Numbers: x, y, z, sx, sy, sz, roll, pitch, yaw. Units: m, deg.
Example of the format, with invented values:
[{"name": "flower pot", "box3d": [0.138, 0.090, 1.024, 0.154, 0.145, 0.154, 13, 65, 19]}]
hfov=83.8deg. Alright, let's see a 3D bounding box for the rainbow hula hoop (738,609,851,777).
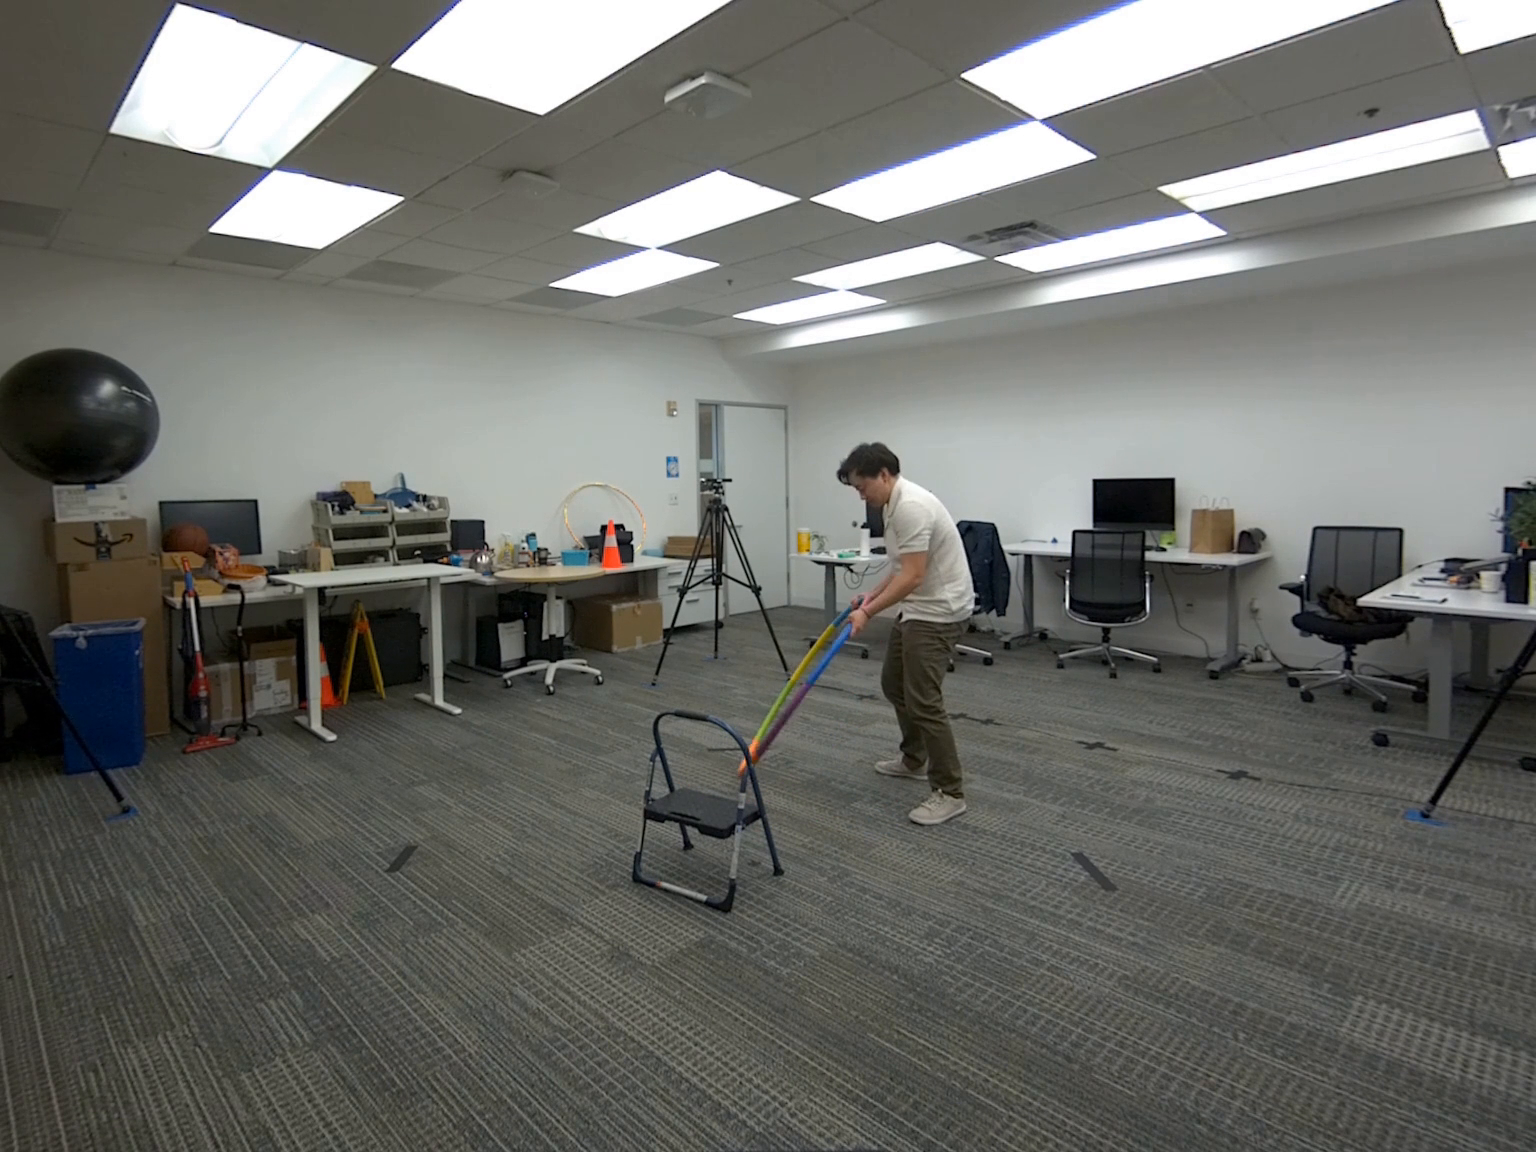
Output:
[{"name": "rainbow hula hoop", "box3d": [0.137, 0.470, 3.828, 0.036, 0.977, 0.974, 36, 9, 2]}]
